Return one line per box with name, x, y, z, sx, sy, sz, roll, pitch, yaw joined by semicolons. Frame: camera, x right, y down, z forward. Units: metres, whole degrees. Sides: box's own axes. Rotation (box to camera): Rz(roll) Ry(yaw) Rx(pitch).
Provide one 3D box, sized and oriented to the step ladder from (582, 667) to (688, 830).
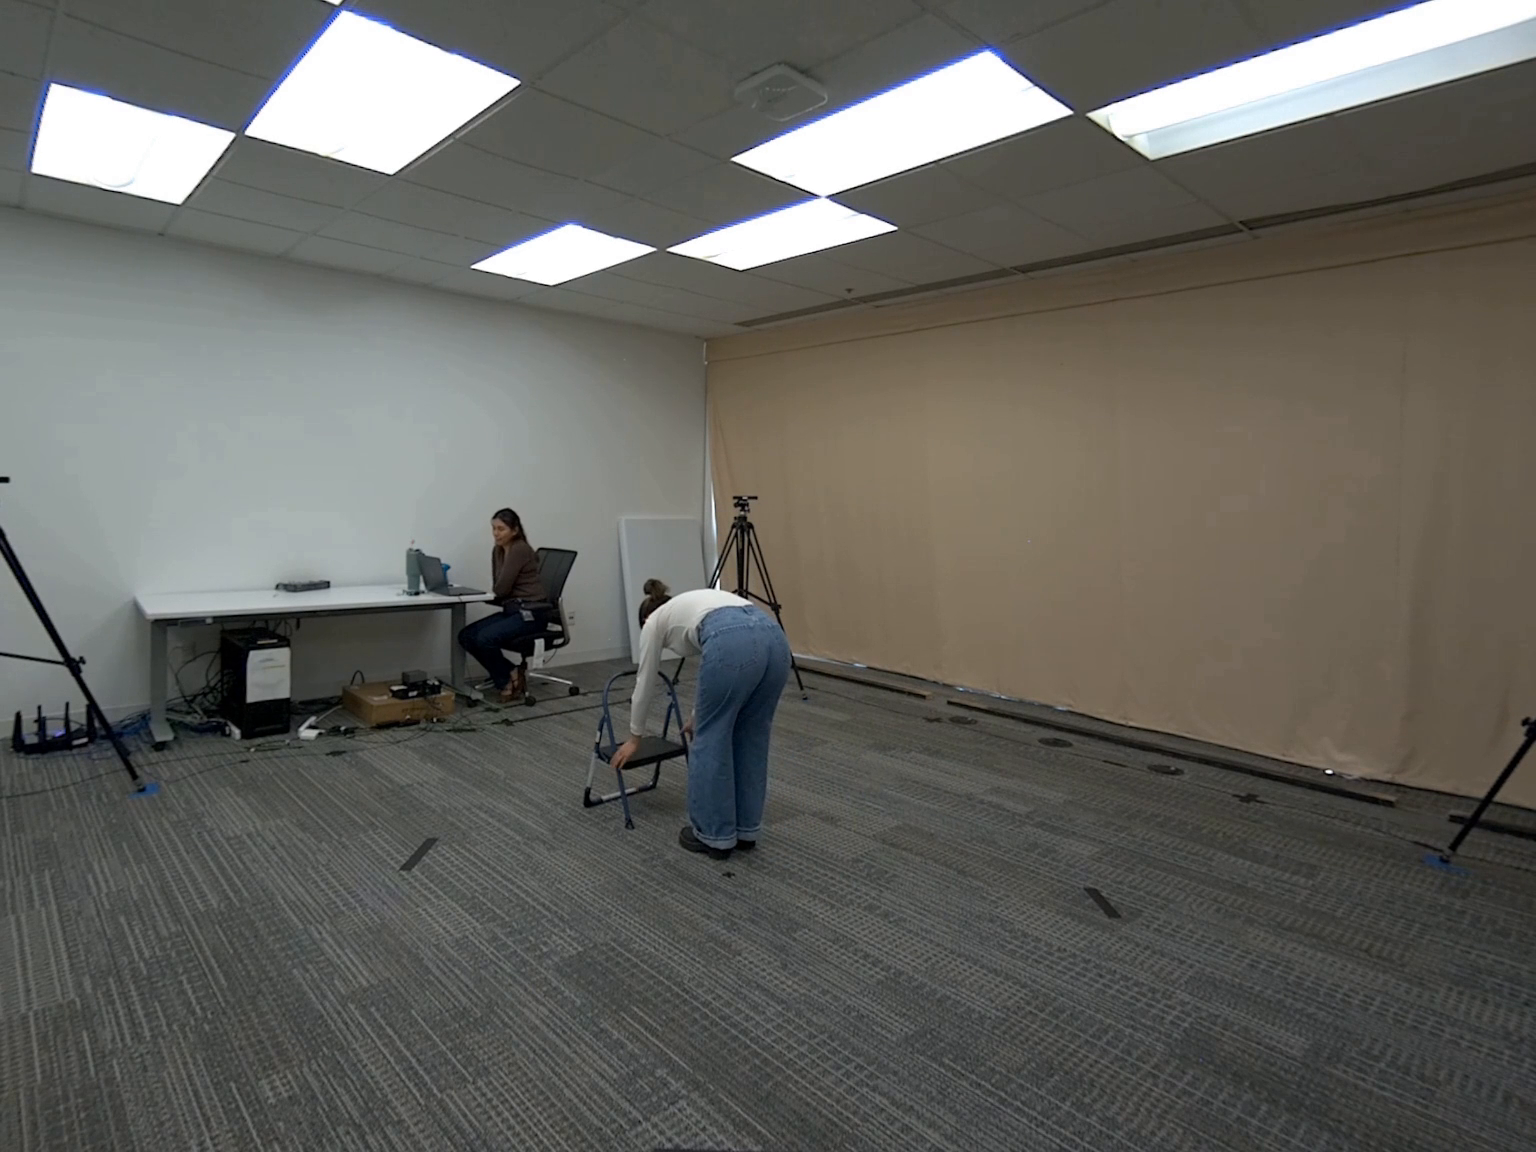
step ladder;-0.563;0.734;3.762;0.358;0.605;0.421;4;5;43
